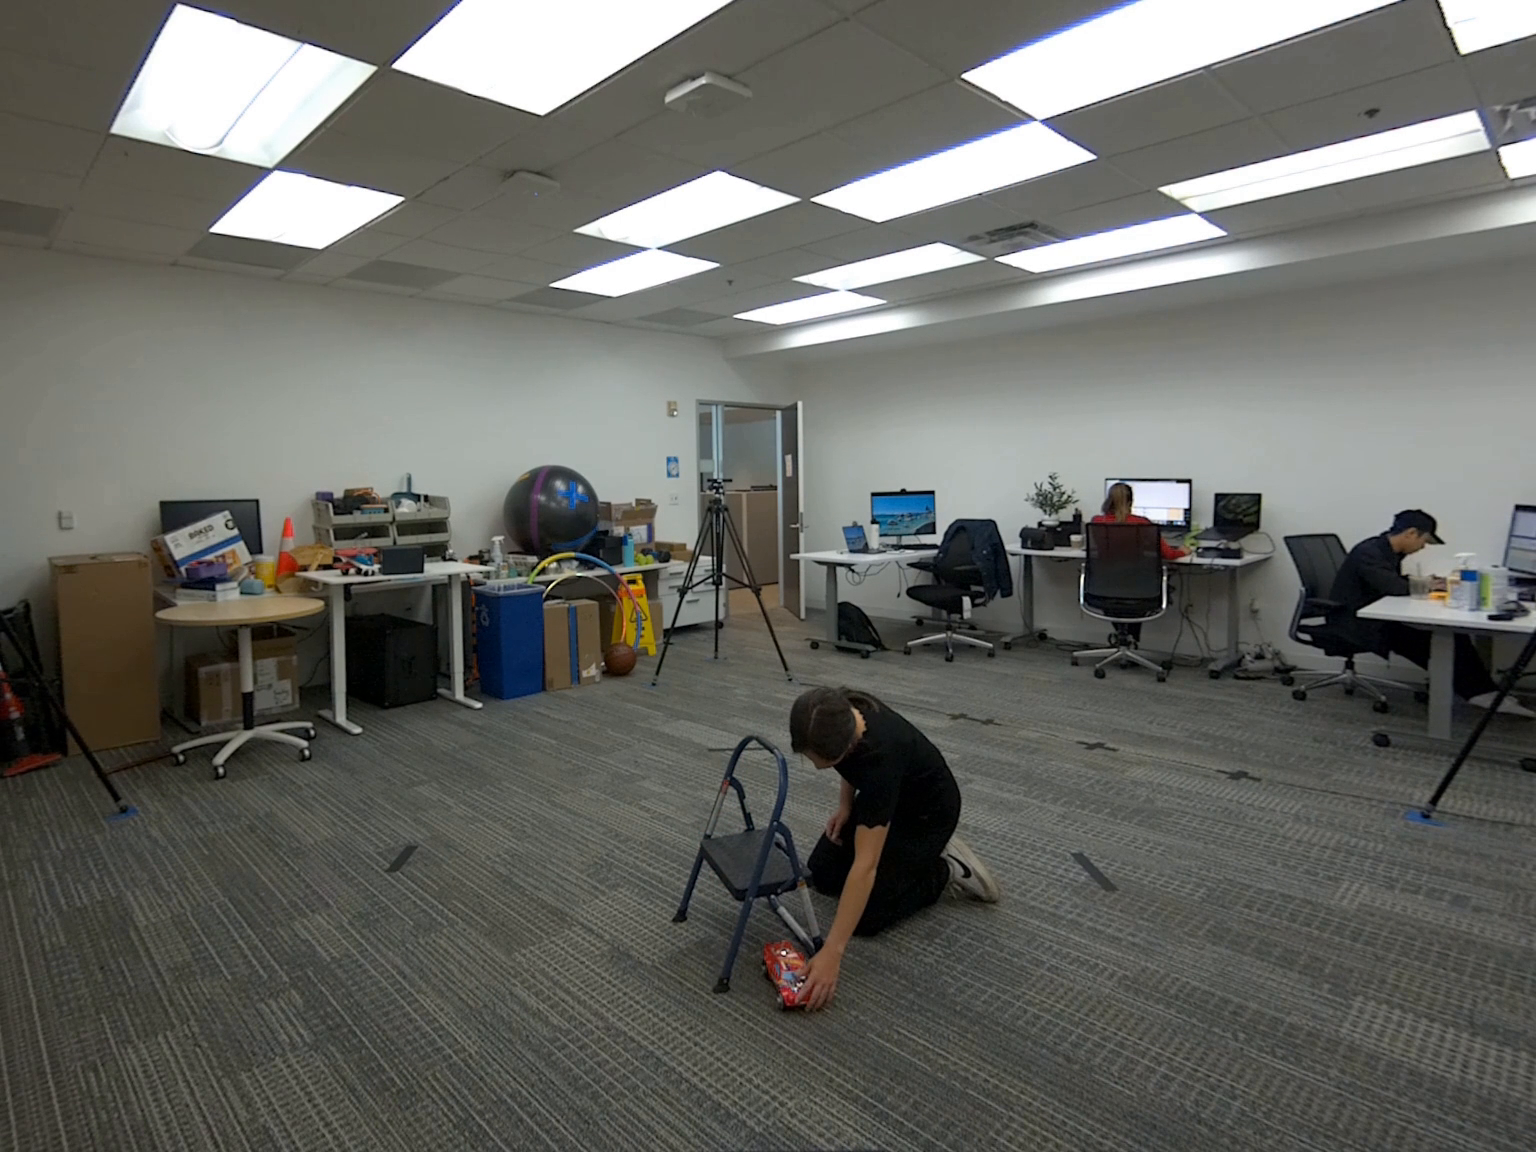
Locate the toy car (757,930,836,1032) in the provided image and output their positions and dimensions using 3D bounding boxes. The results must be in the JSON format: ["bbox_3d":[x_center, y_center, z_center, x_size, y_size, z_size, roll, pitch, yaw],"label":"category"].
[{"bbox_3d":[0.071,1.104,2.352,0.128,0.082,0.262,-2,17,-18],"label":"toy car"}]
